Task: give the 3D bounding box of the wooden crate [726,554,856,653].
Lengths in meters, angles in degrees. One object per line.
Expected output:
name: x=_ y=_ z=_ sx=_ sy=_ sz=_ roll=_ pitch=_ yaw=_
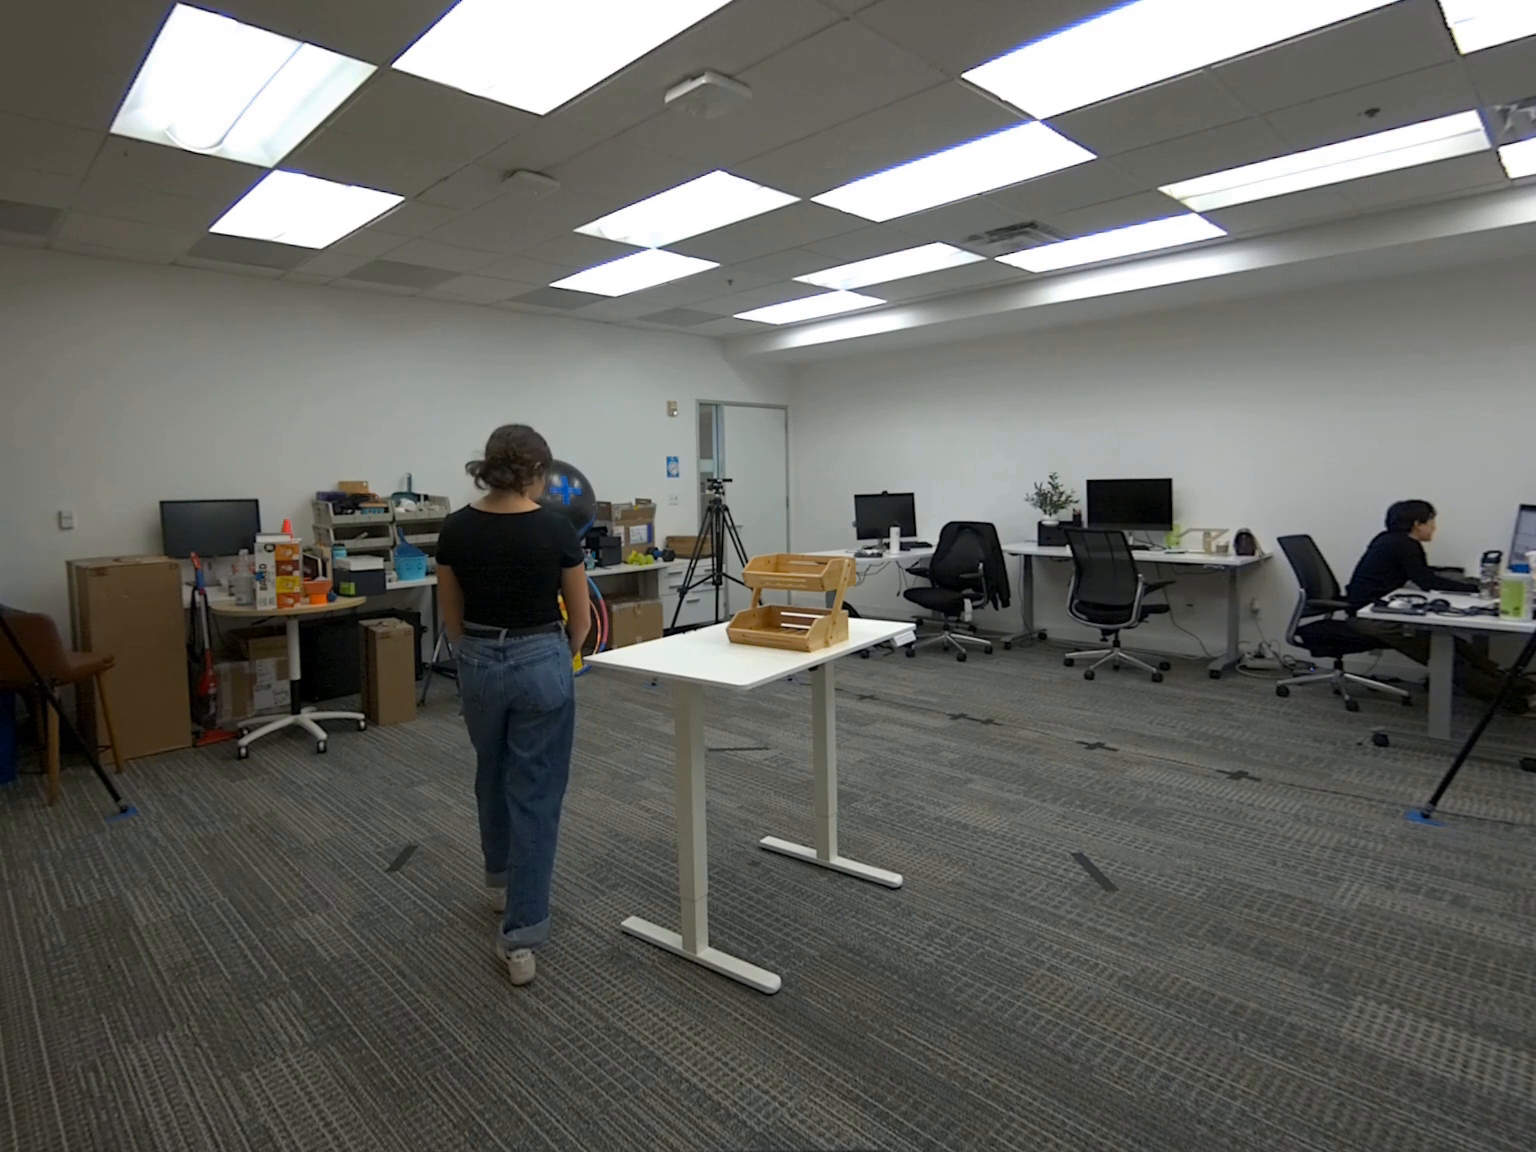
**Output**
wooden crate: x=0.076 y=0.072 z=2.709 sx=0.334 sy=0.272 sz=0.295 roll=2 pitch=6 yaw=35
